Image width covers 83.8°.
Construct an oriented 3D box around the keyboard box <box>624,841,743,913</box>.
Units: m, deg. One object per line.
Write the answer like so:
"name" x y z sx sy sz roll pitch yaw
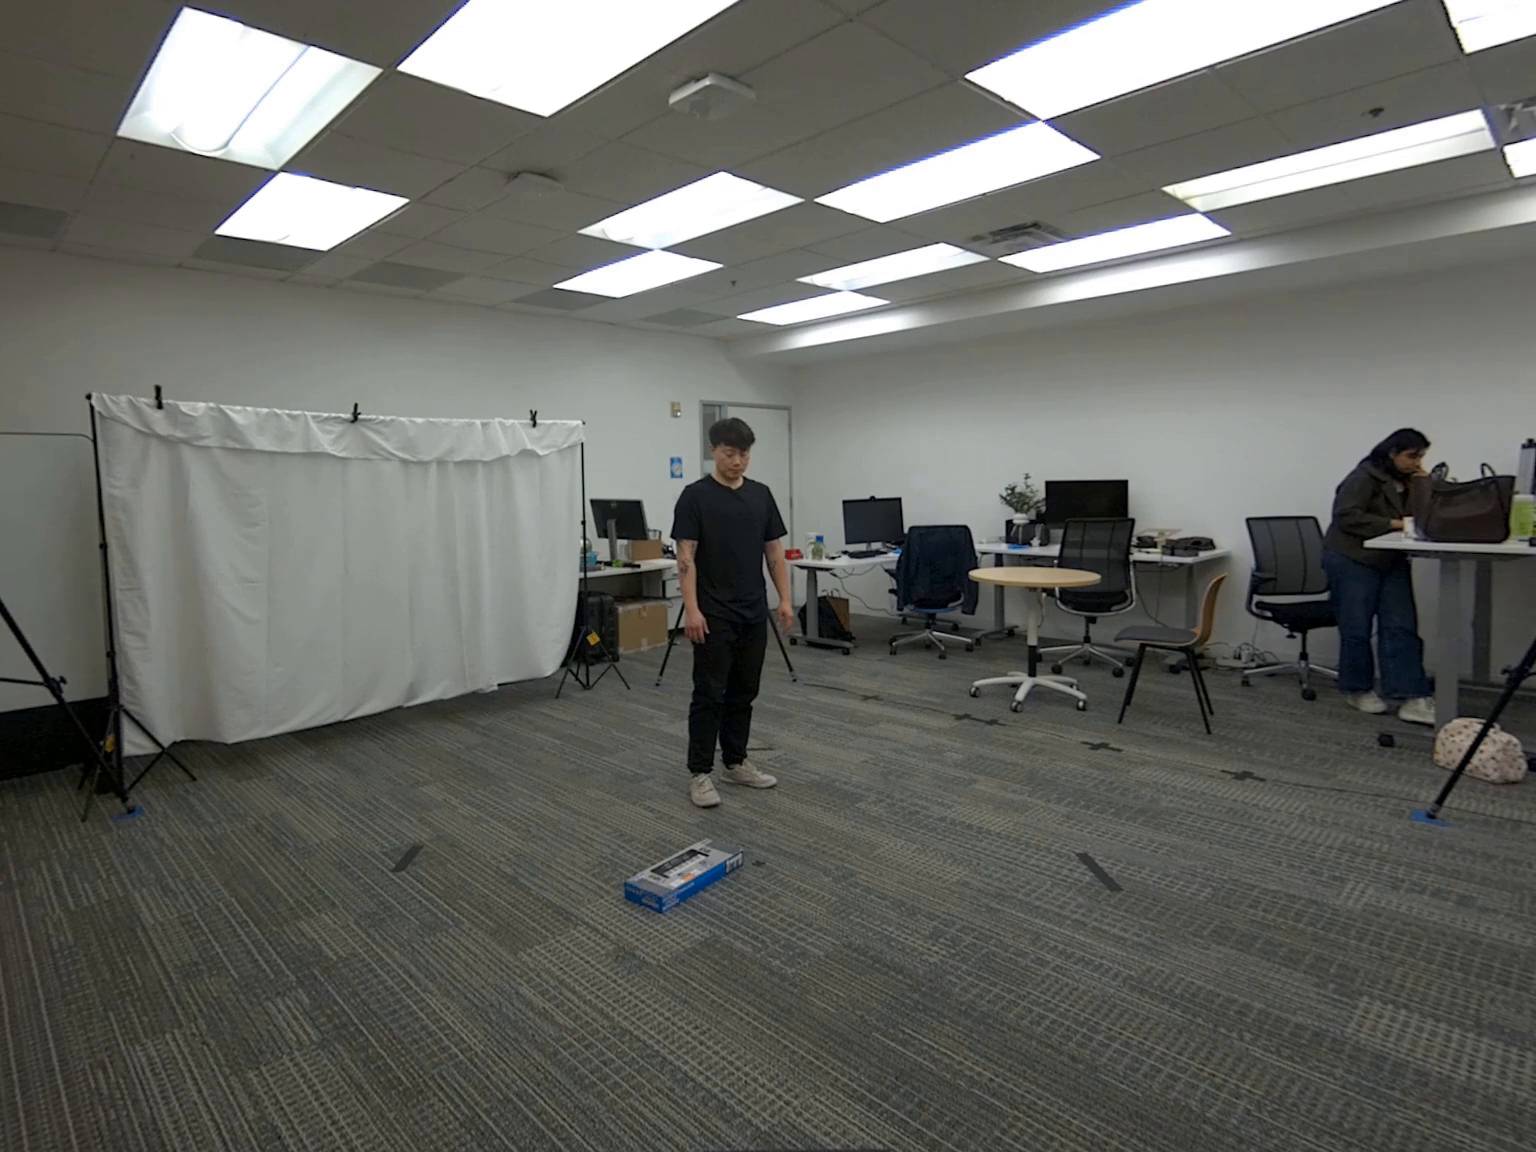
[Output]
"keyboard box" -0.288 1.041 2.980 0.181 0.059 0.426 4 8 37
